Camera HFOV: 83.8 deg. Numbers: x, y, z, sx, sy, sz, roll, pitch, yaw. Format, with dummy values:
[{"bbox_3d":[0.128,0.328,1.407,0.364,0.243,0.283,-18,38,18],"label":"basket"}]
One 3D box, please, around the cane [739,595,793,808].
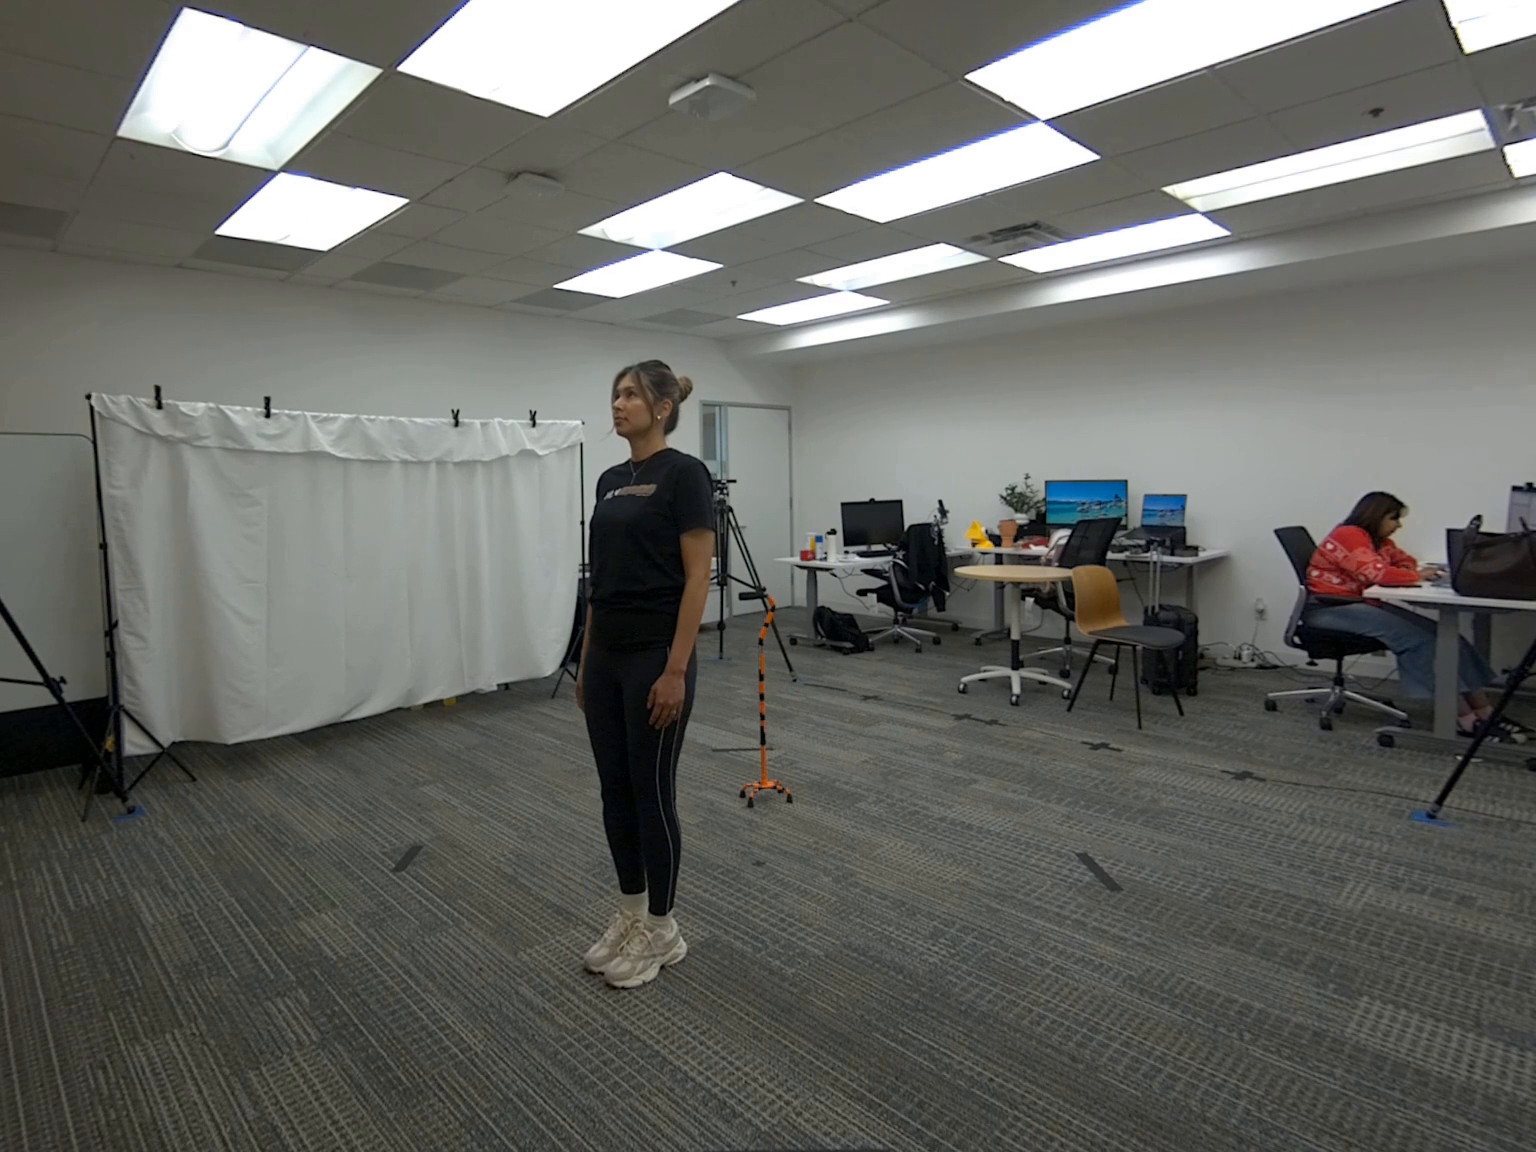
[{"bbox_3d":[-0.019,0.526,3.711,0.204,0.905,0.154,-2,3,-15],"label":"cane"}]
